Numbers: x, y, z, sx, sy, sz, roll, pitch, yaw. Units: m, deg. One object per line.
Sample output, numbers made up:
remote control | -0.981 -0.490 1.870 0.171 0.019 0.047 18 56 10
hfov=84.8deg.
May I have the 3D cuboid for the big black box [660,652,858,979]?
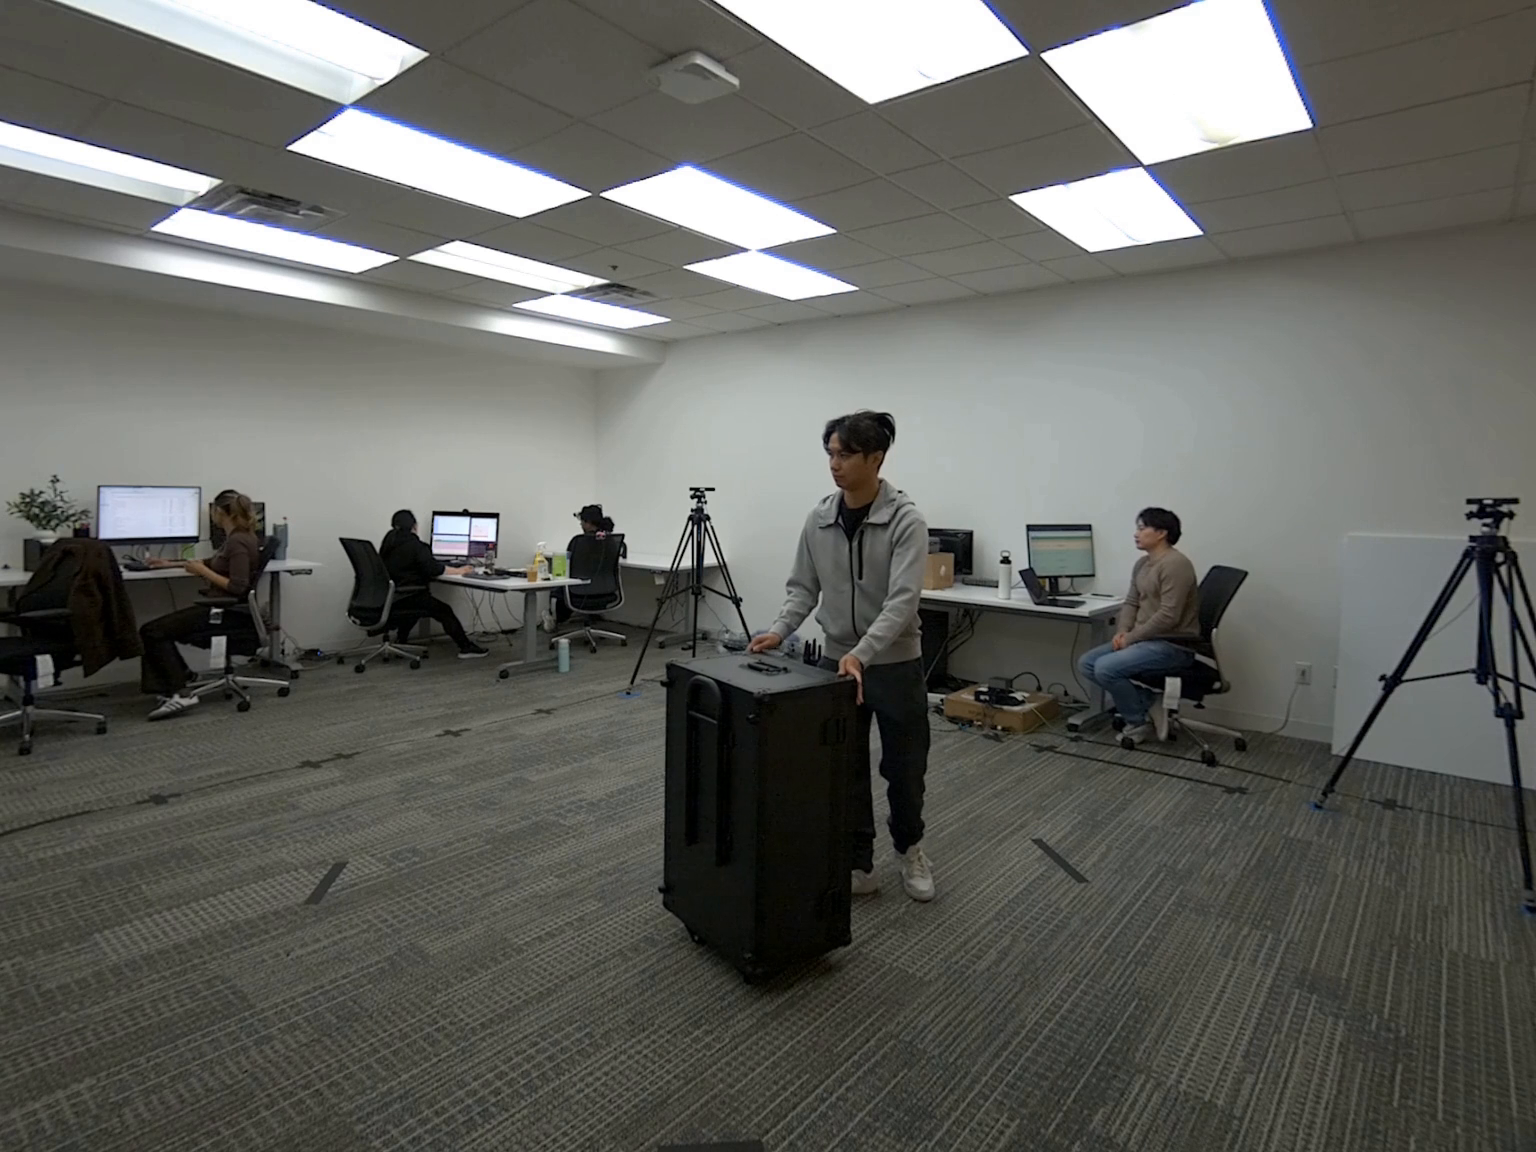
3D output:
big black box | -0.050 0.701 2.538 0.385 0.858 0.539 -3 6 -37
